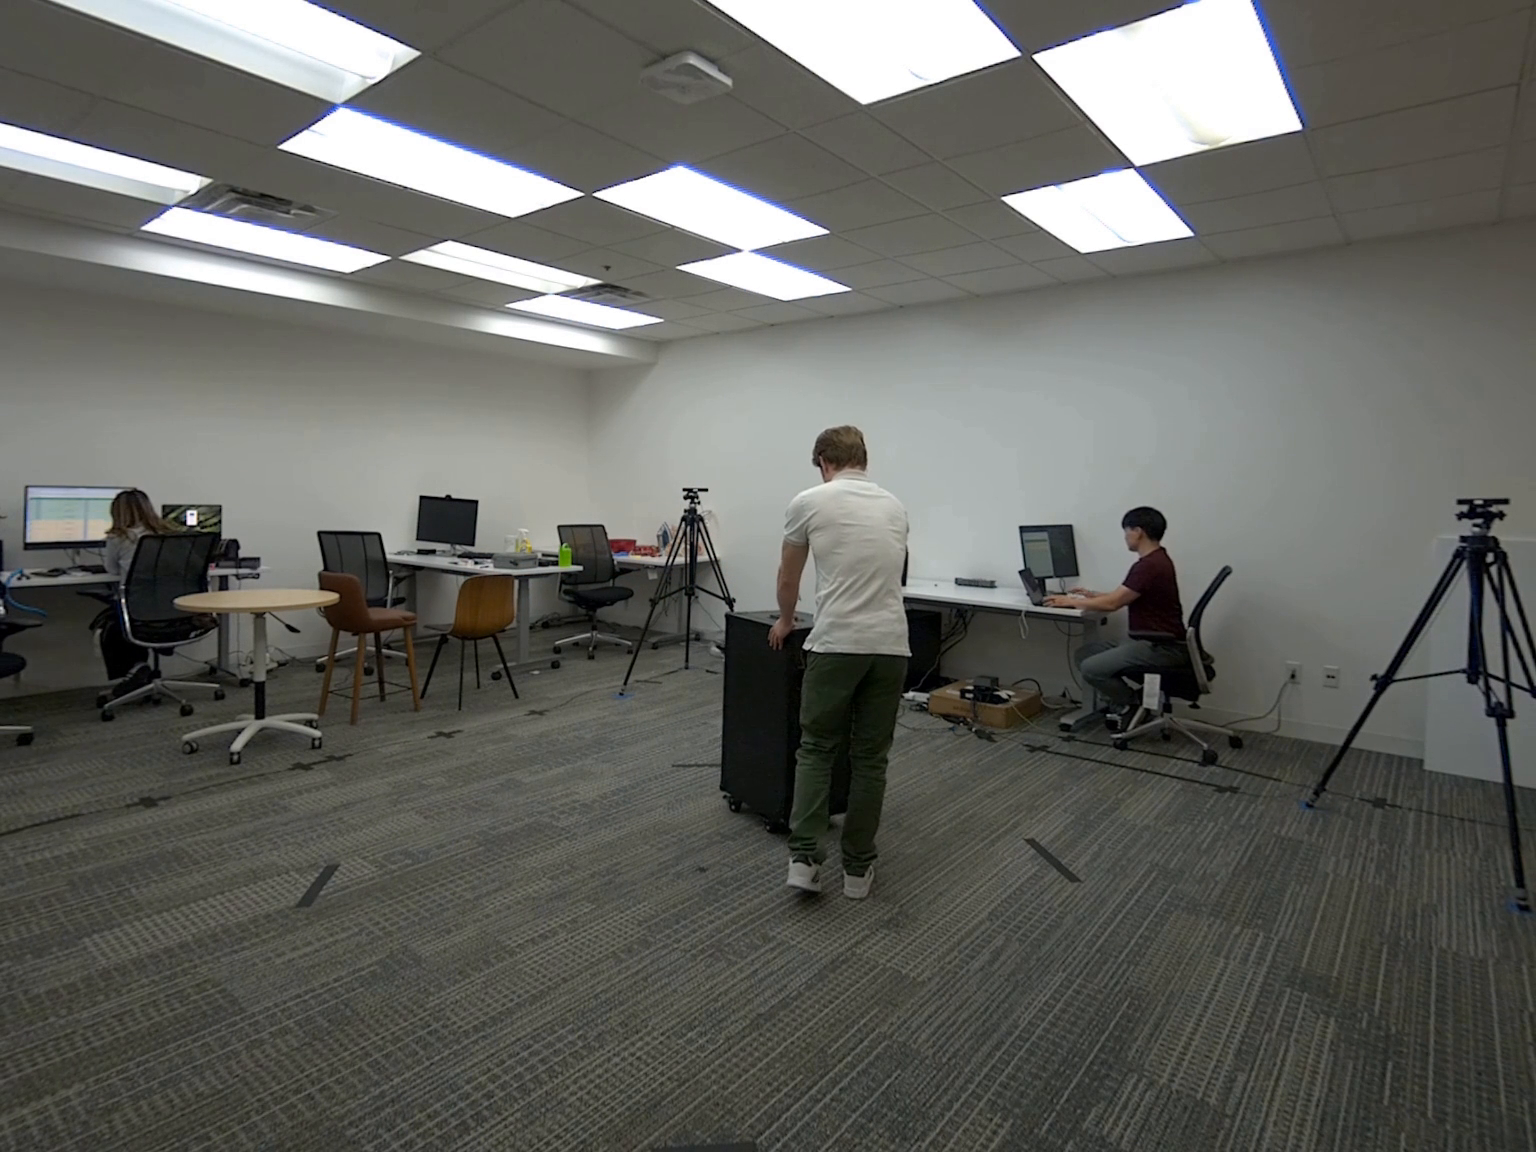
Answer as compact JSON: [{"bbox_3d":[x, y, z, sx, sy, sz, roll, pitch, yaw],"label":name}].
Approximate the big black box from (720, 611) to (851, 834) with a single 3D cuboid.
[{"bbox_3d":[0.064,0.603,3.622,0.374,0.866,0.540,0,4,-35],"label":"big black box"}]
